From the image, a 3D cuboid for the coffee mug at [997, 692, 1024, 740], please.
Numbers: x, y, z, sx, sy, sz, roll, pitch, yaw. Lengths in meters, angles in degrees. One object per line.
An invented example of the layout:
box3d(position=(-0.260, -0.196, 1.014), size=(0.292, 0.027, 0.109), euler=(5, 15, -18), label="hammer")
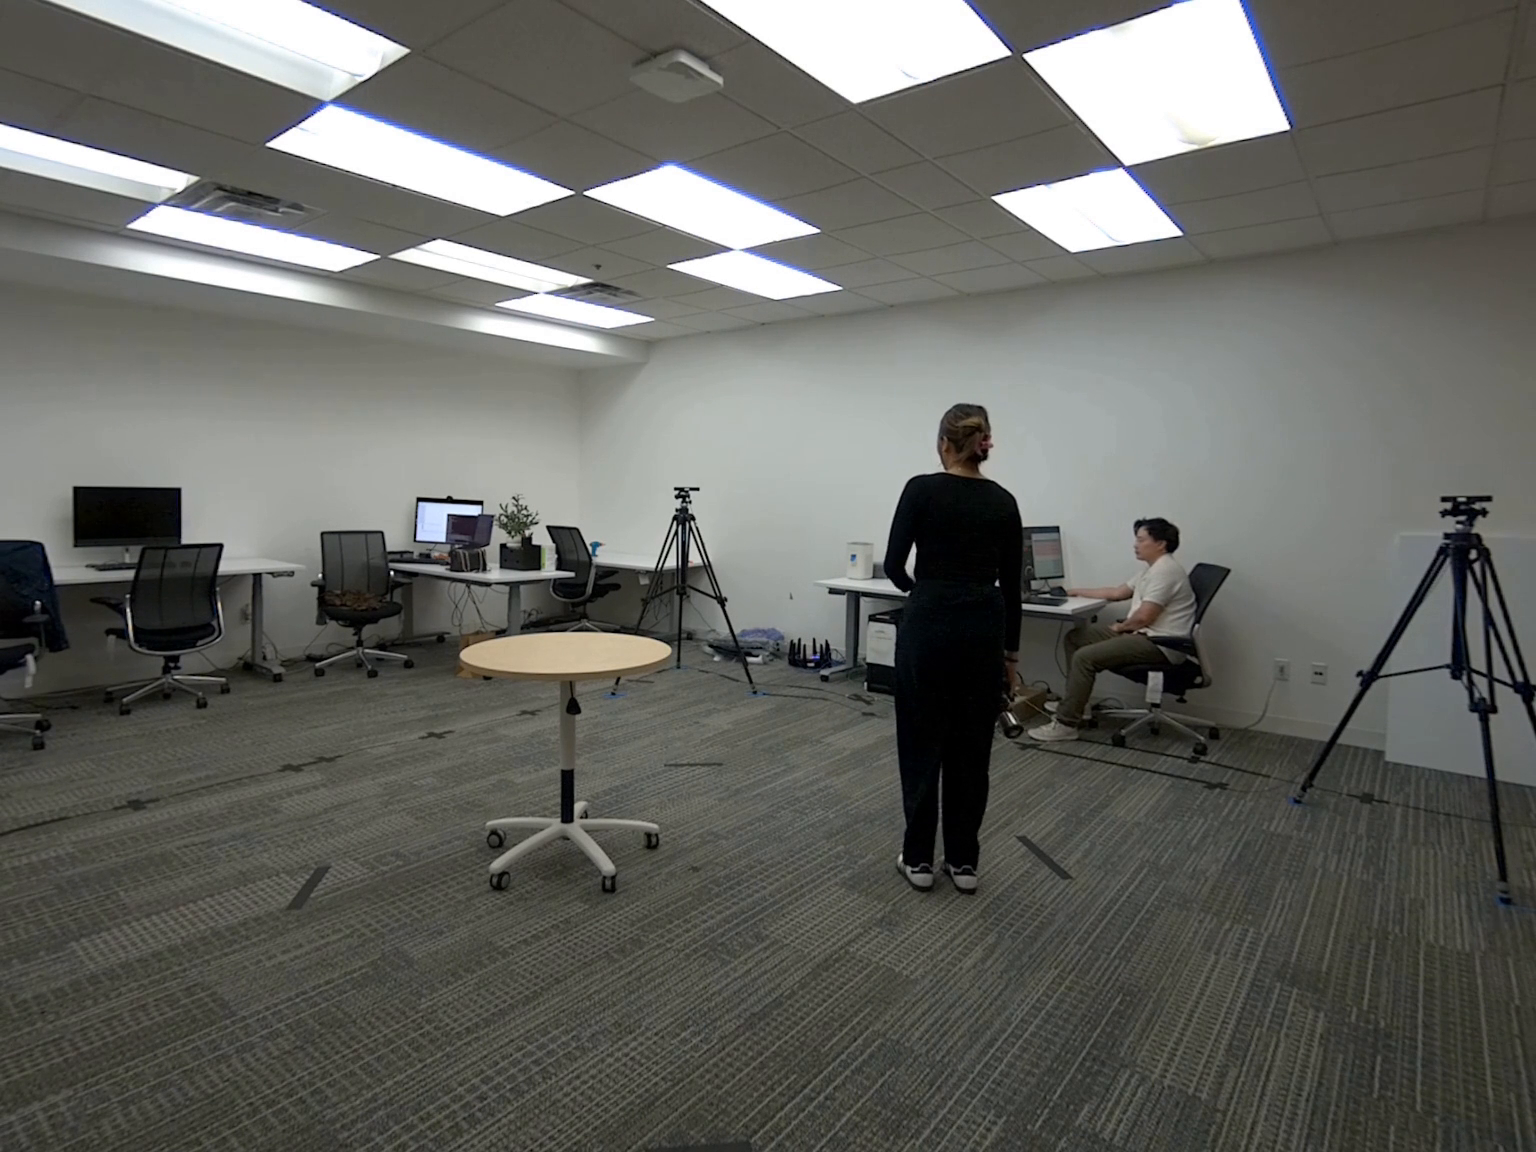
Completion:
box3d(position=(0.859, 0.482, 3.084), size=(0.086, 0.120, 0.211), euler=(4, 36, -22), label="coffee mug")
